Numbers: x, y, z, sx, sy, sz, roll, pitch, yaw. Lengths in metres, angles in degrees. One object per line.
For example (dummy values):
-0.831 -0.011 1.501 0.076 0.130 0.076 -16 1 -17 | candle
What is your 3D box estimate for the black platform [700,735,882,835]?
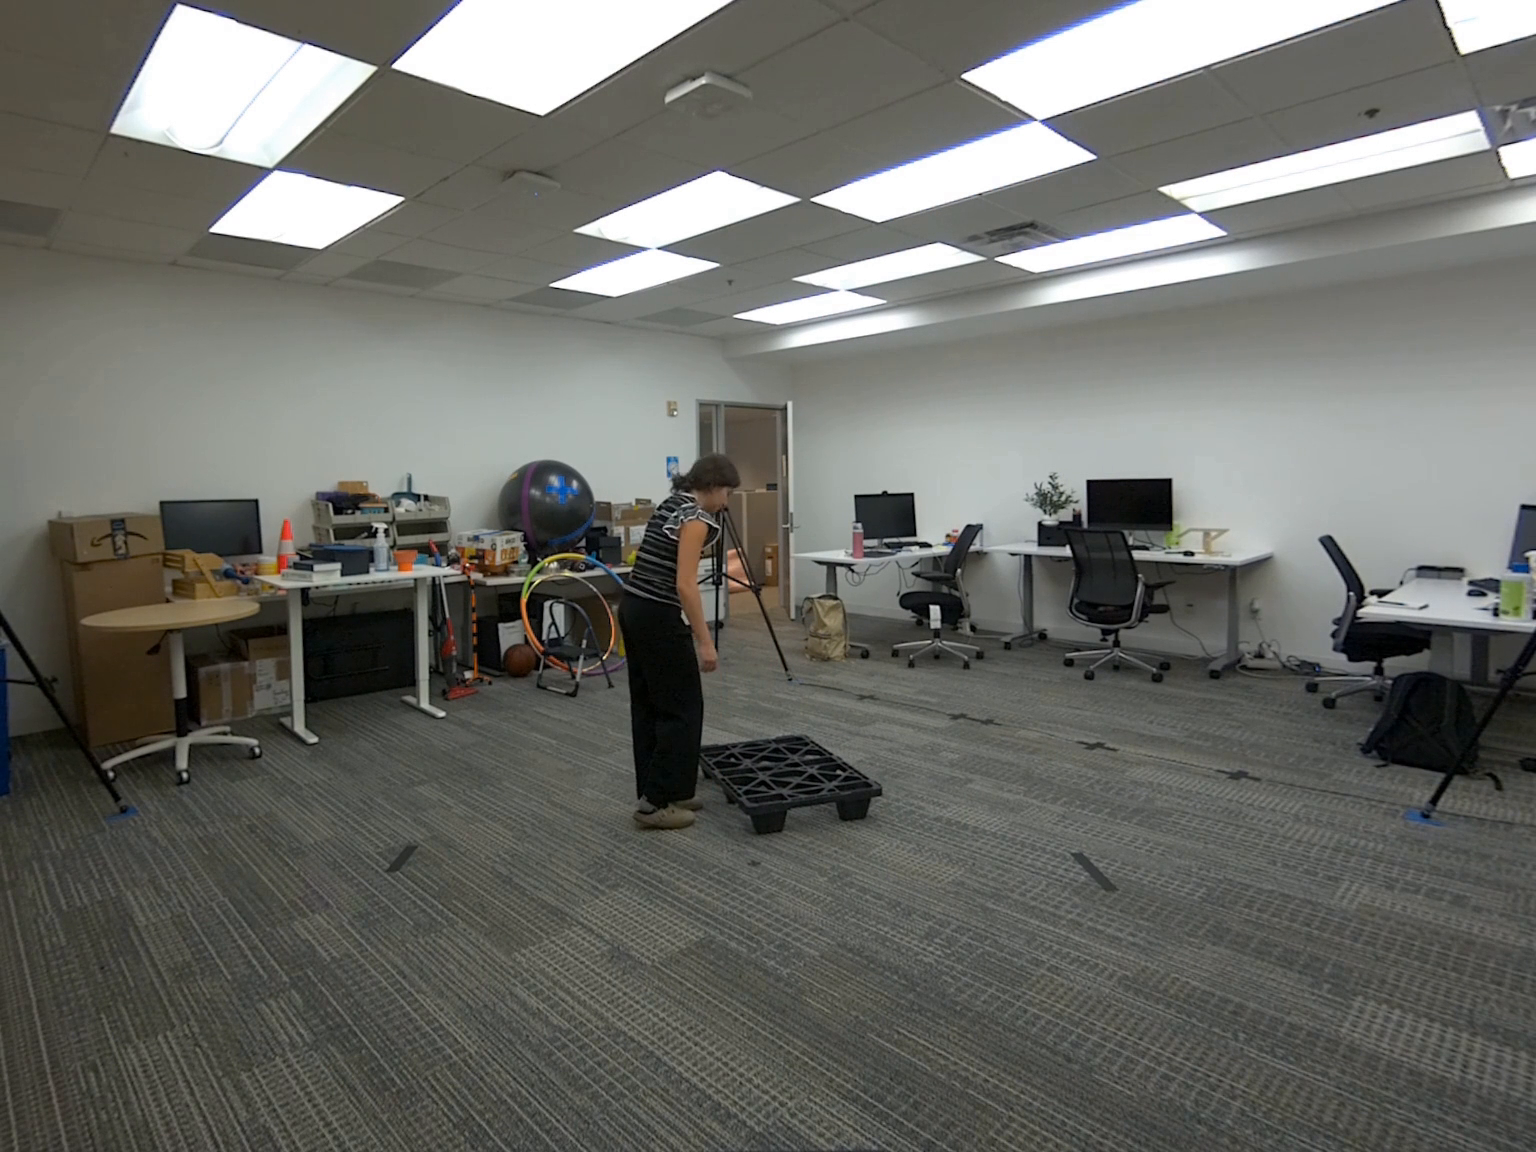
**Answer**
0.044 0.906 3.766 0.595 0.143 0.823 -4 7 -20 | black platform
